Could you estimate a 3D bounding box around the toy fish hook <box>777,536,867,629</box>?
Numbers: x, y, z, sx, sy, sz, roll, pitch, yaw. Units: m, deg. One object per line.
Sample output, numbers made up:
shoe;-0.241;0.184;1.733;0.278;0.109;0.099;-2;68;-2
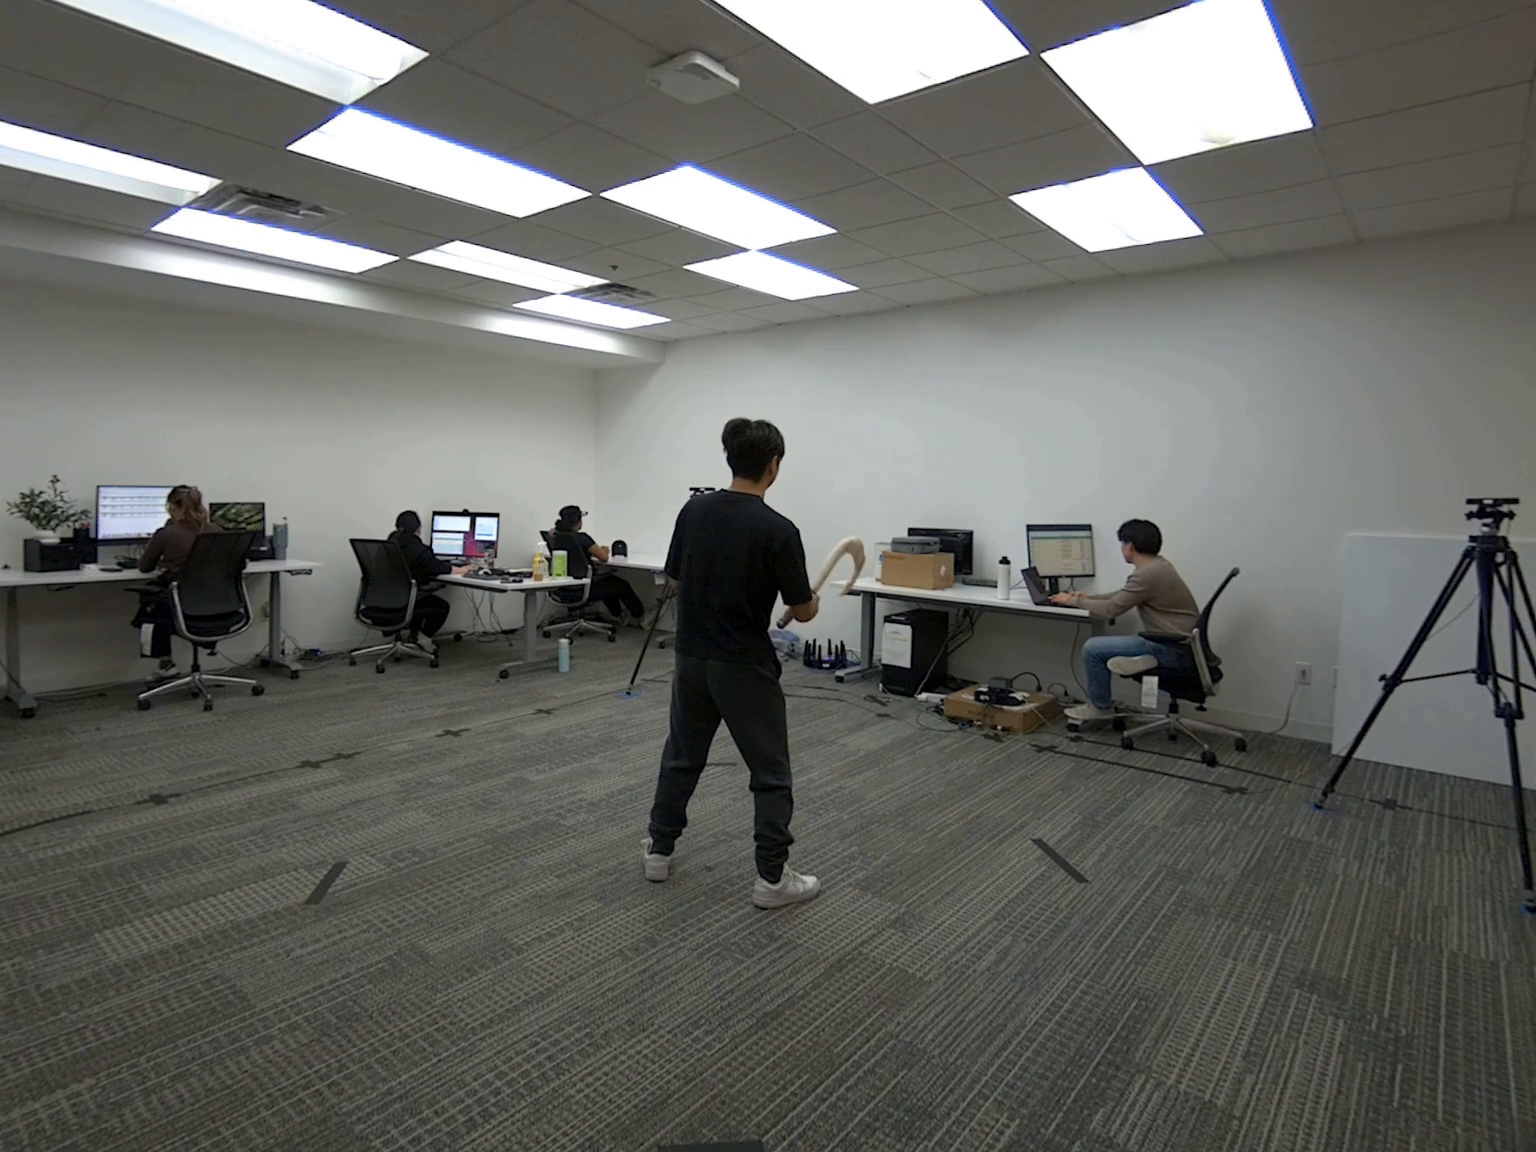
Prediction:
toy fish hook;0.202;0.065;3.213;0.050;0.216;0.506;16;54;46
